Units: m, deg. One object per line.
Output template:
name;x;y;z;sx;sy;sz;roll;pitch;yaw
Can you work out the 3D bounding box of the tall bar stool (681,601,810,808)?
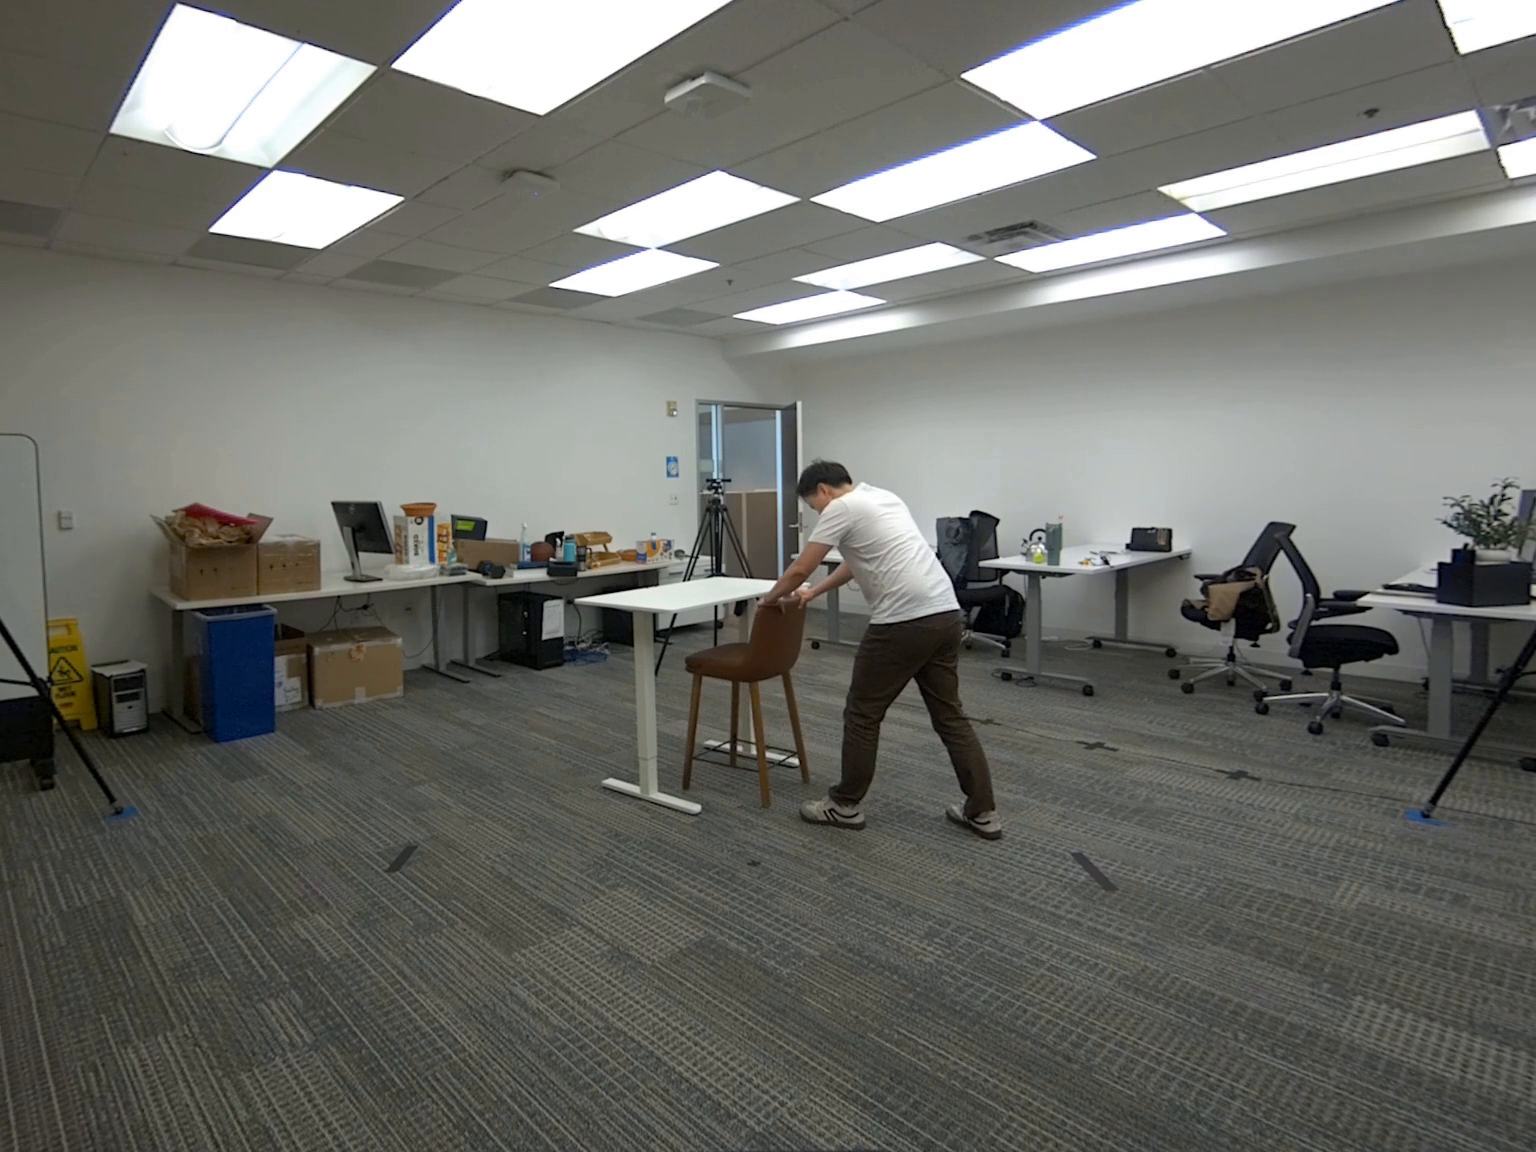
tall bar stool;-0.088;0.521;3.872;0.481;0.885;0.445;5;7;34
